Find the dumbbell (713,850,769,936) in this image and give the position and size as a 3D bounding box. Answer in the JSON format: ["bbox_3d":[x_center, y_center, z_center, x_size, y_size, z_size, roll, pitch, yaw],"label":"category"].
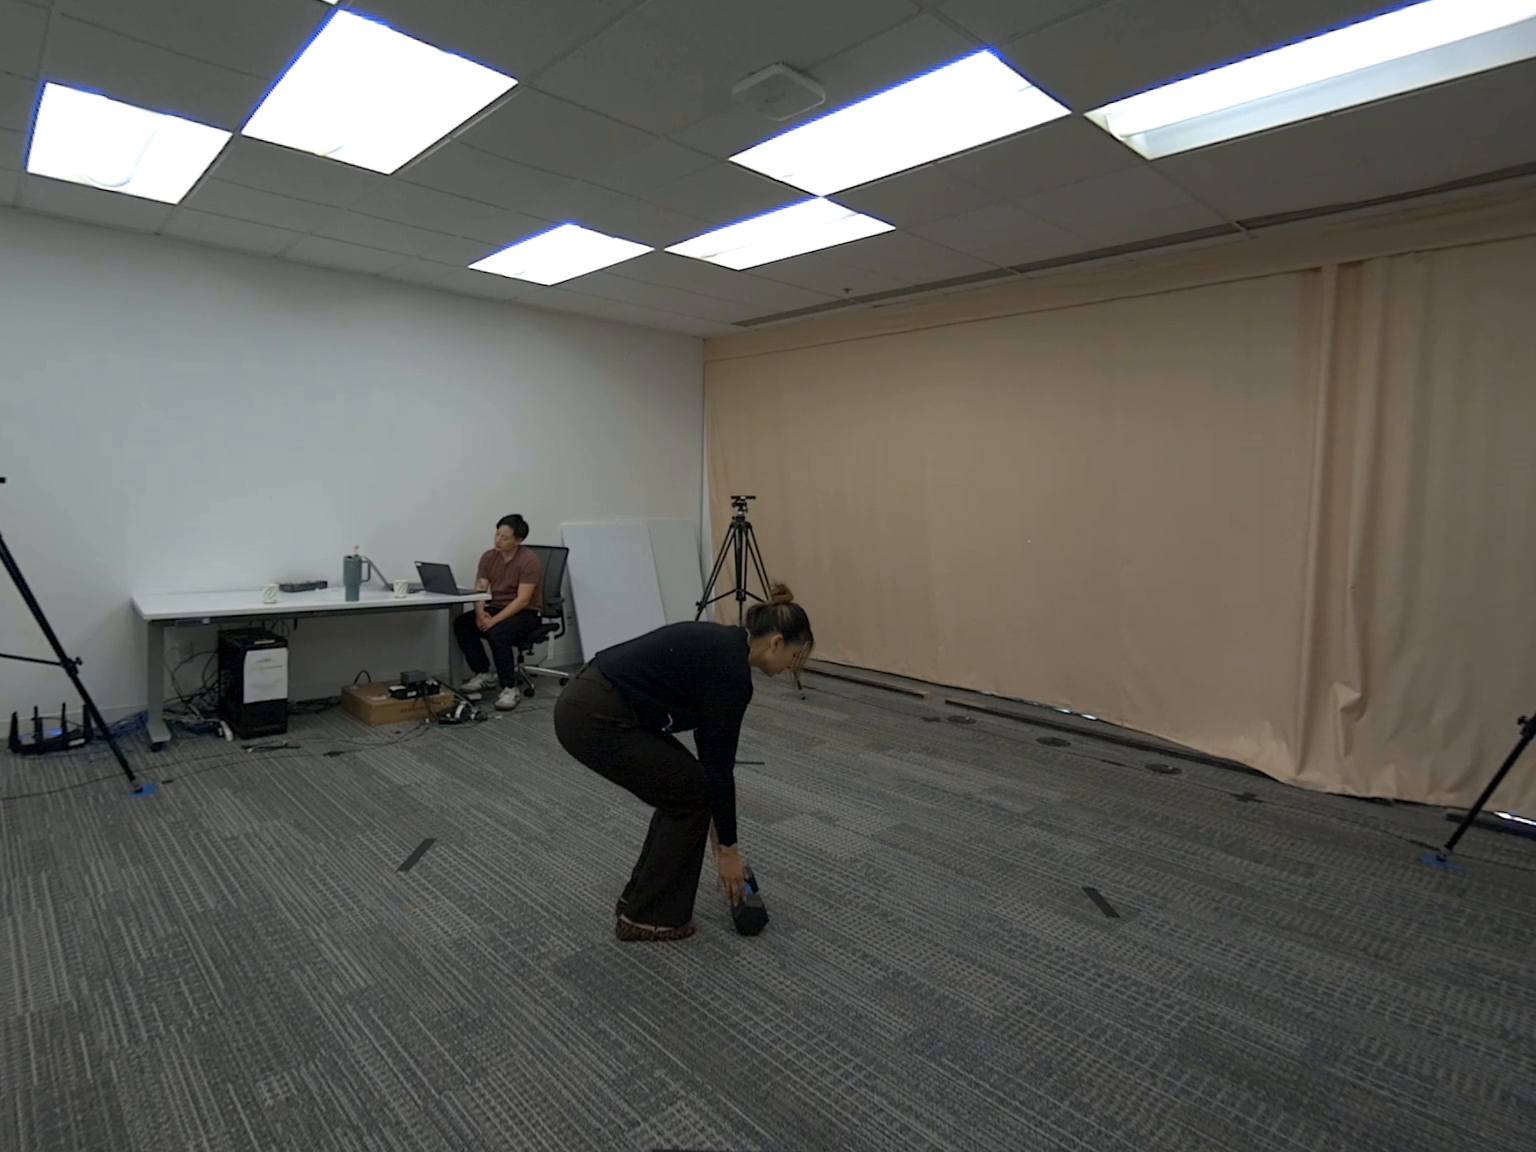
[{"bbox_3d":[-0.094,1.078,2.796,0.107,0.123,0.296,37,-1,-10],"label":"dumbbell"}]
